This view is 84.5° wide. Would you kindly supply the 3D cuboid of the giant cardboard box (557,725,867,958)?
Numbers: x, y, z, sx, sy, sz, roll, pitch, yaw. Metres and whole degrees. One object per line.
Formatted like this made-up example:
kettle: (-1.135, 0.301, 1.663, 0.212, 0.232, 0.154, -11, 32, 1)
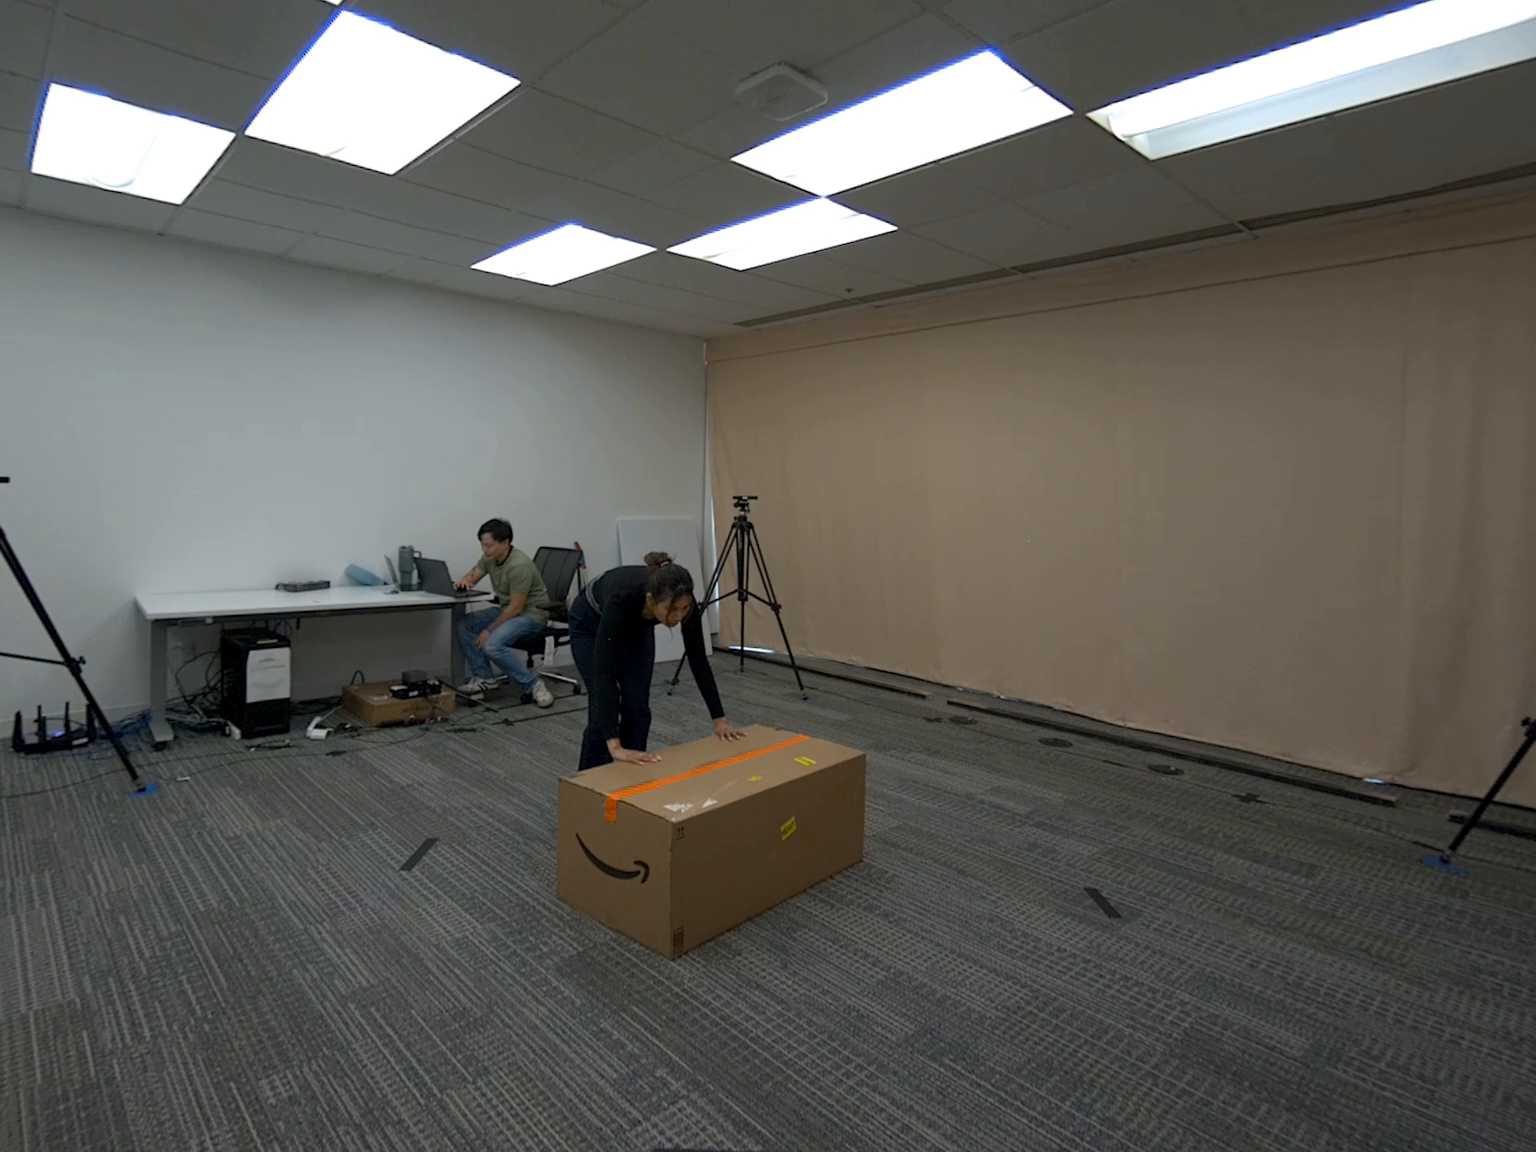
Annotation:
giant cardboard box: (-0.177, 0.892, 3.062, 0.592, 0.425, 1.003, 4, 5, 41)
